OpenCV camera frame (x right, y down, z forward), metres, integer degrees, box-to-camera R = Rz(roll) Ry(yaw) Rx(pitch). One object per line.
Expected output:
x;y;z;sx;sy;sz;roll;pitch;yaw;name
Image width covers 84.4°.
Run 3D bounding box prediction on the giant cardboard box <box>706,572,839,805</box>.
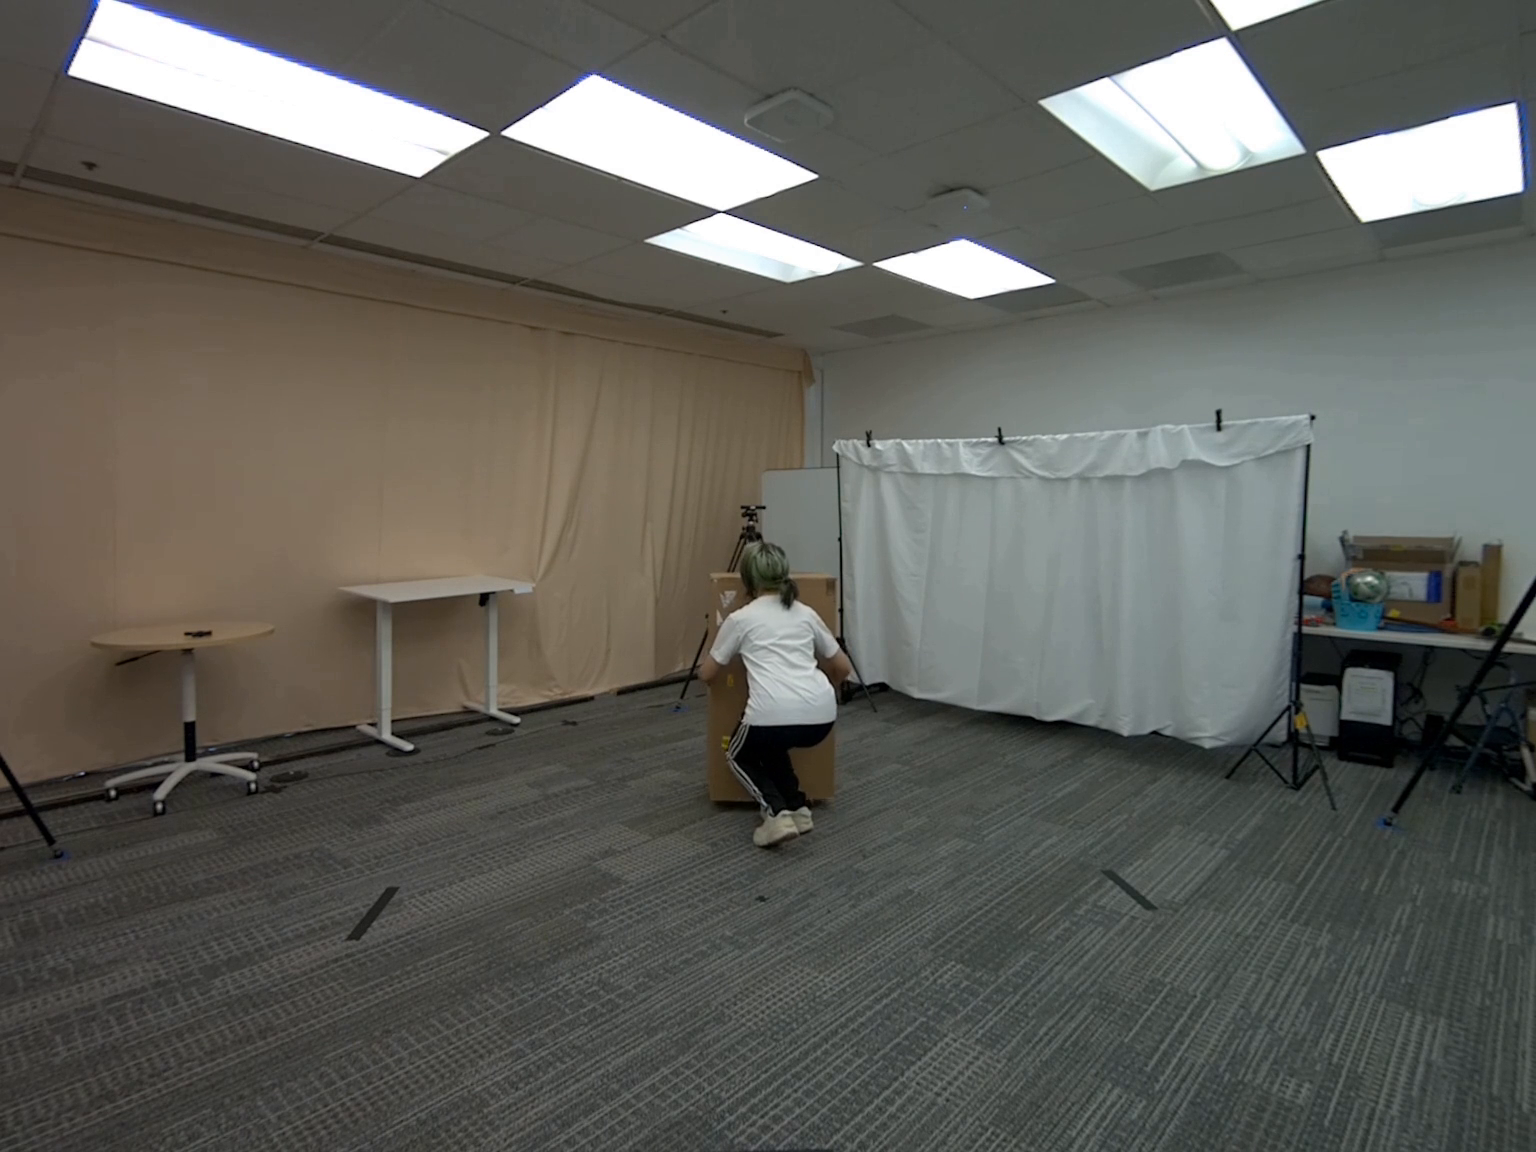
0.002;0.497;4.046;0.582;1.026;0.449;0;1;-4;giant cardboard box
